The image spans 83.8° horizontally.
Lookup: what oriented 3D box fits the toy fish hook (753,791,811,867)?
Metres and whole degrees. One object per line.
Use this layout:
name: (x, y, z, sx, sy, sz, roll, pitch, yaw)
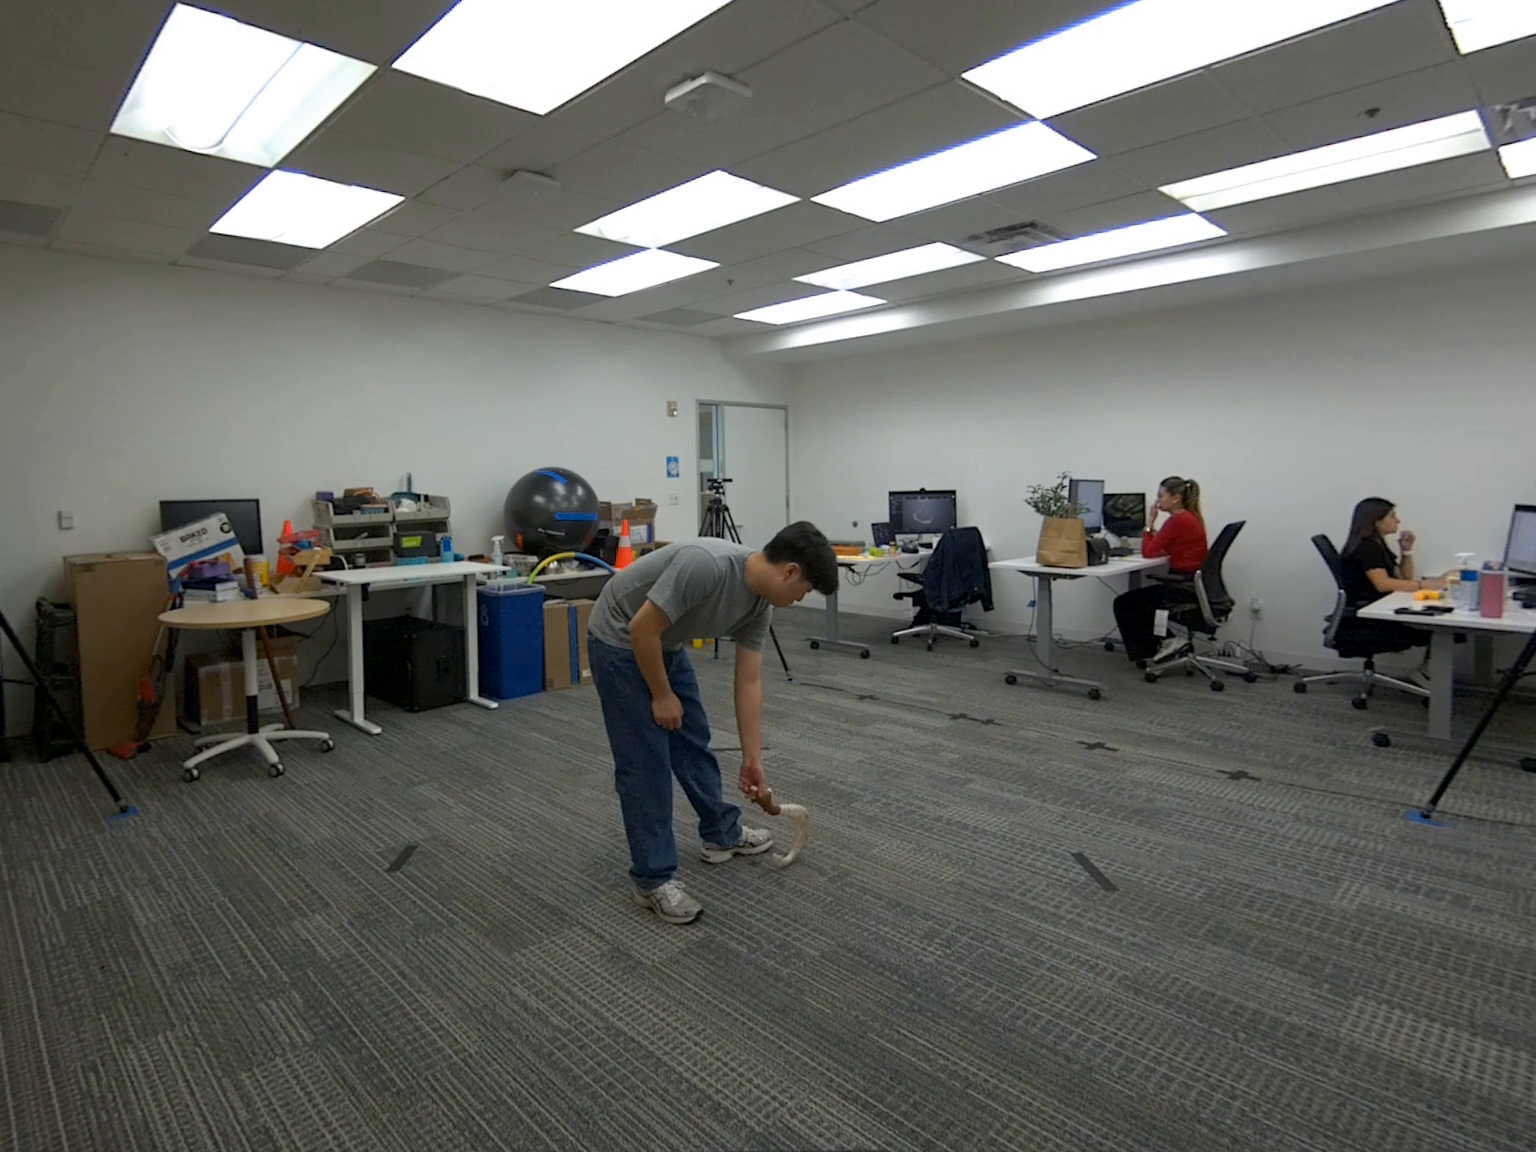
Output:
toy fish hook: (0.033, 0.871, 2.977, 0.050, 0.227, 0.487, 3, -29, 33)
